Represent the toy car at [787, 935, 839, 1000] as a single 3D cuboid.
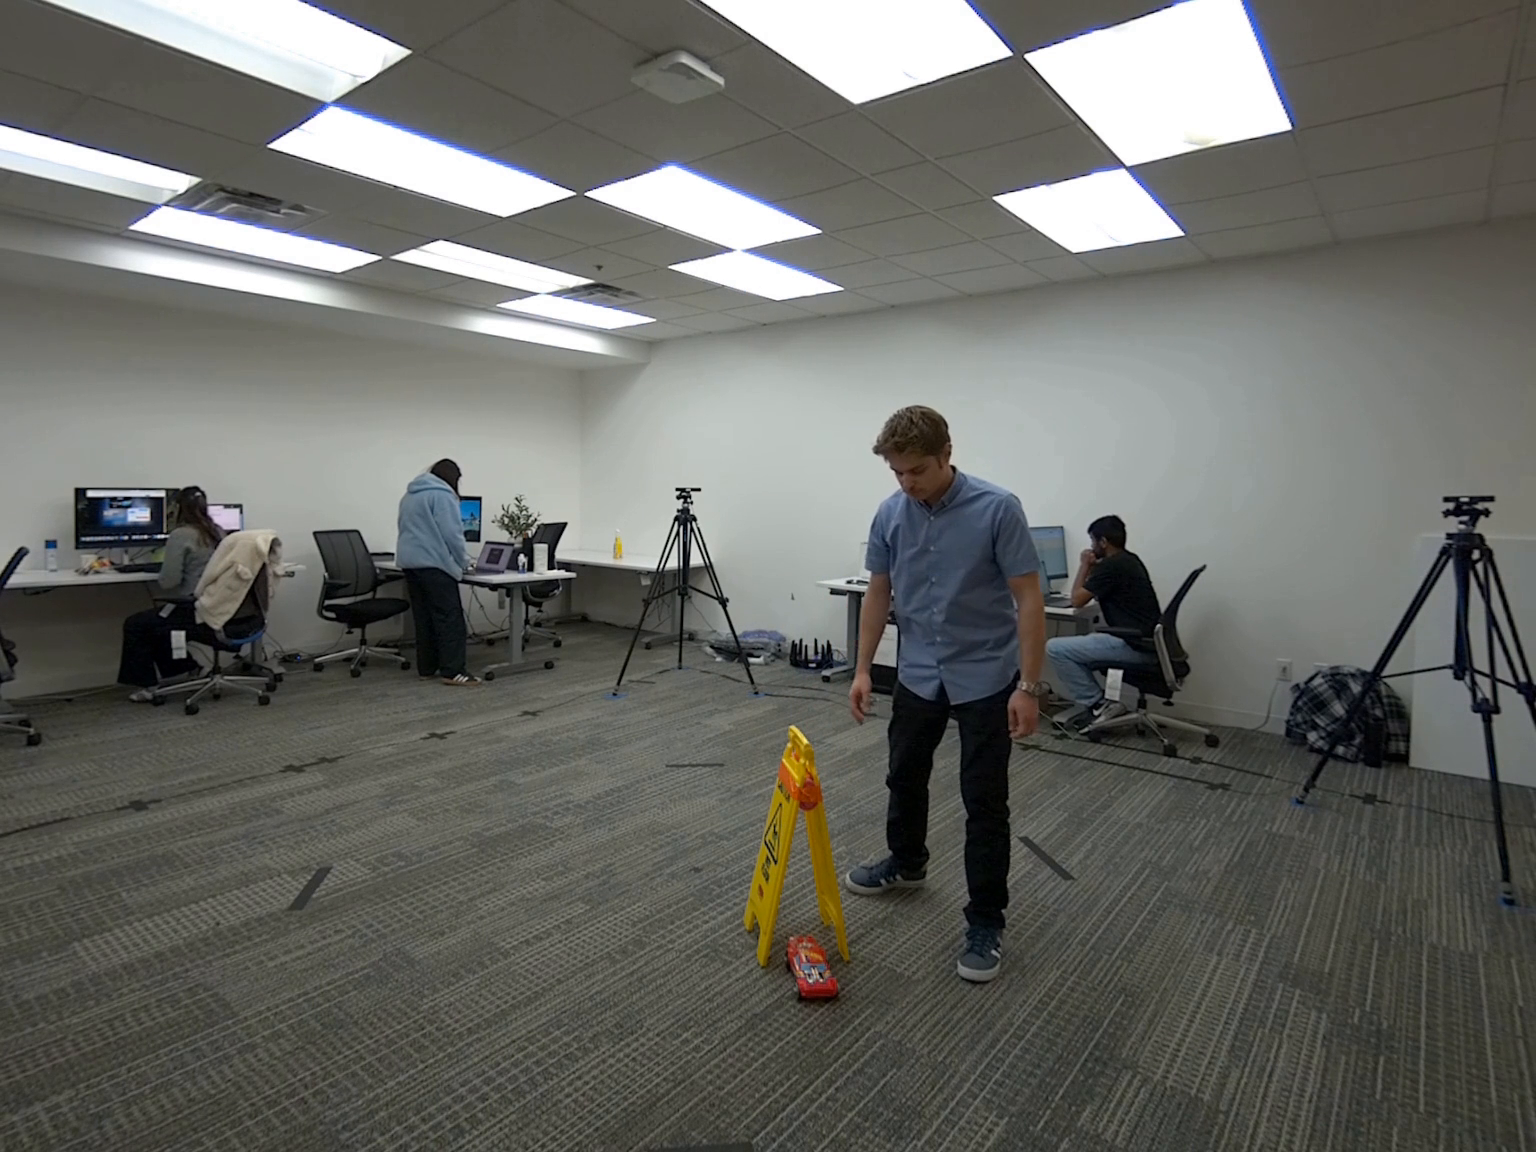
[{"bbox_3d":[0.120,1.114,2.418,0.129,0.082,0.259,-1,16,-7],"label":"toy car"}]
